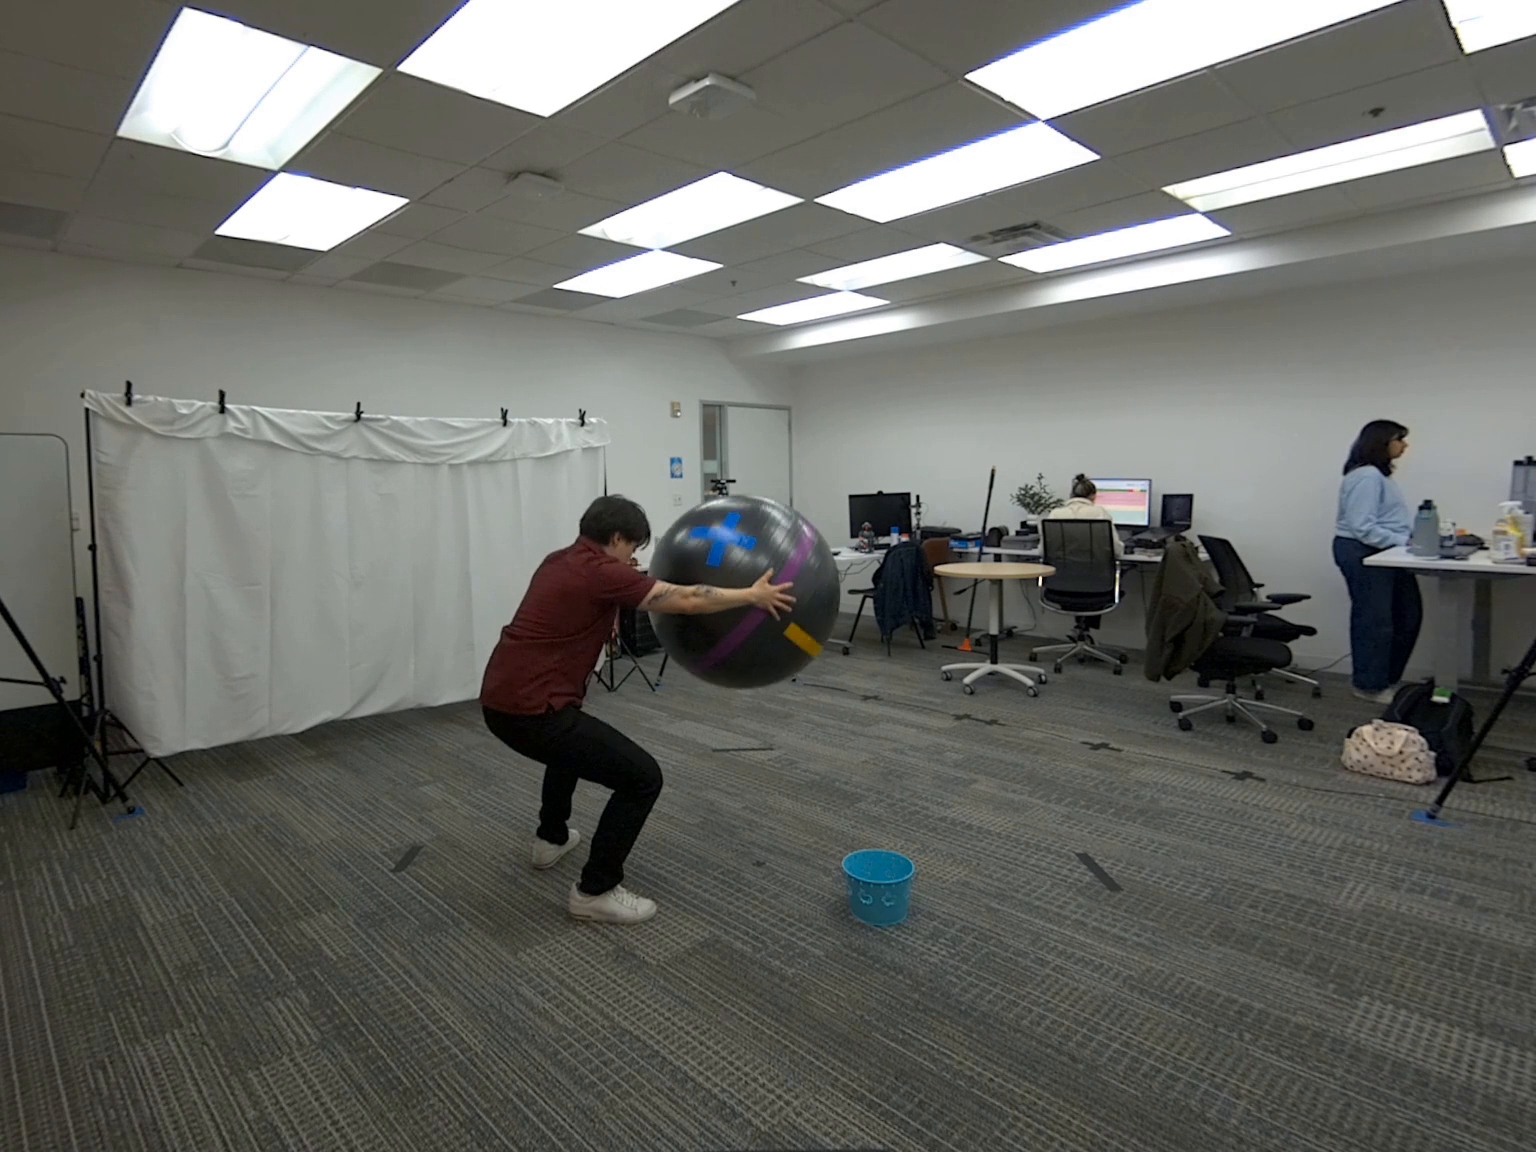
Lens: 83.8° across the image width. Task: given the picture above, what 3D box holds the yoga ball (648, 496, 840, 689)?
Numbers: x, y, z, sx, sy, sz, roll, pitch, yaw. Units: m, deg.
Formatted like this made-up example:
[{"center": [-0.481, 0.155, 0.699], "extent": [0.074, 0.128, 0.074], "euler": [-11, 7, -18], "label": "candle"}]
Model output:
[{"center": [-0.102, 0.062, 3.350], "extent": [0.757, 0.755, 0.762], "euler": [-1, 5, -2], "label": "yoga ball"}]
